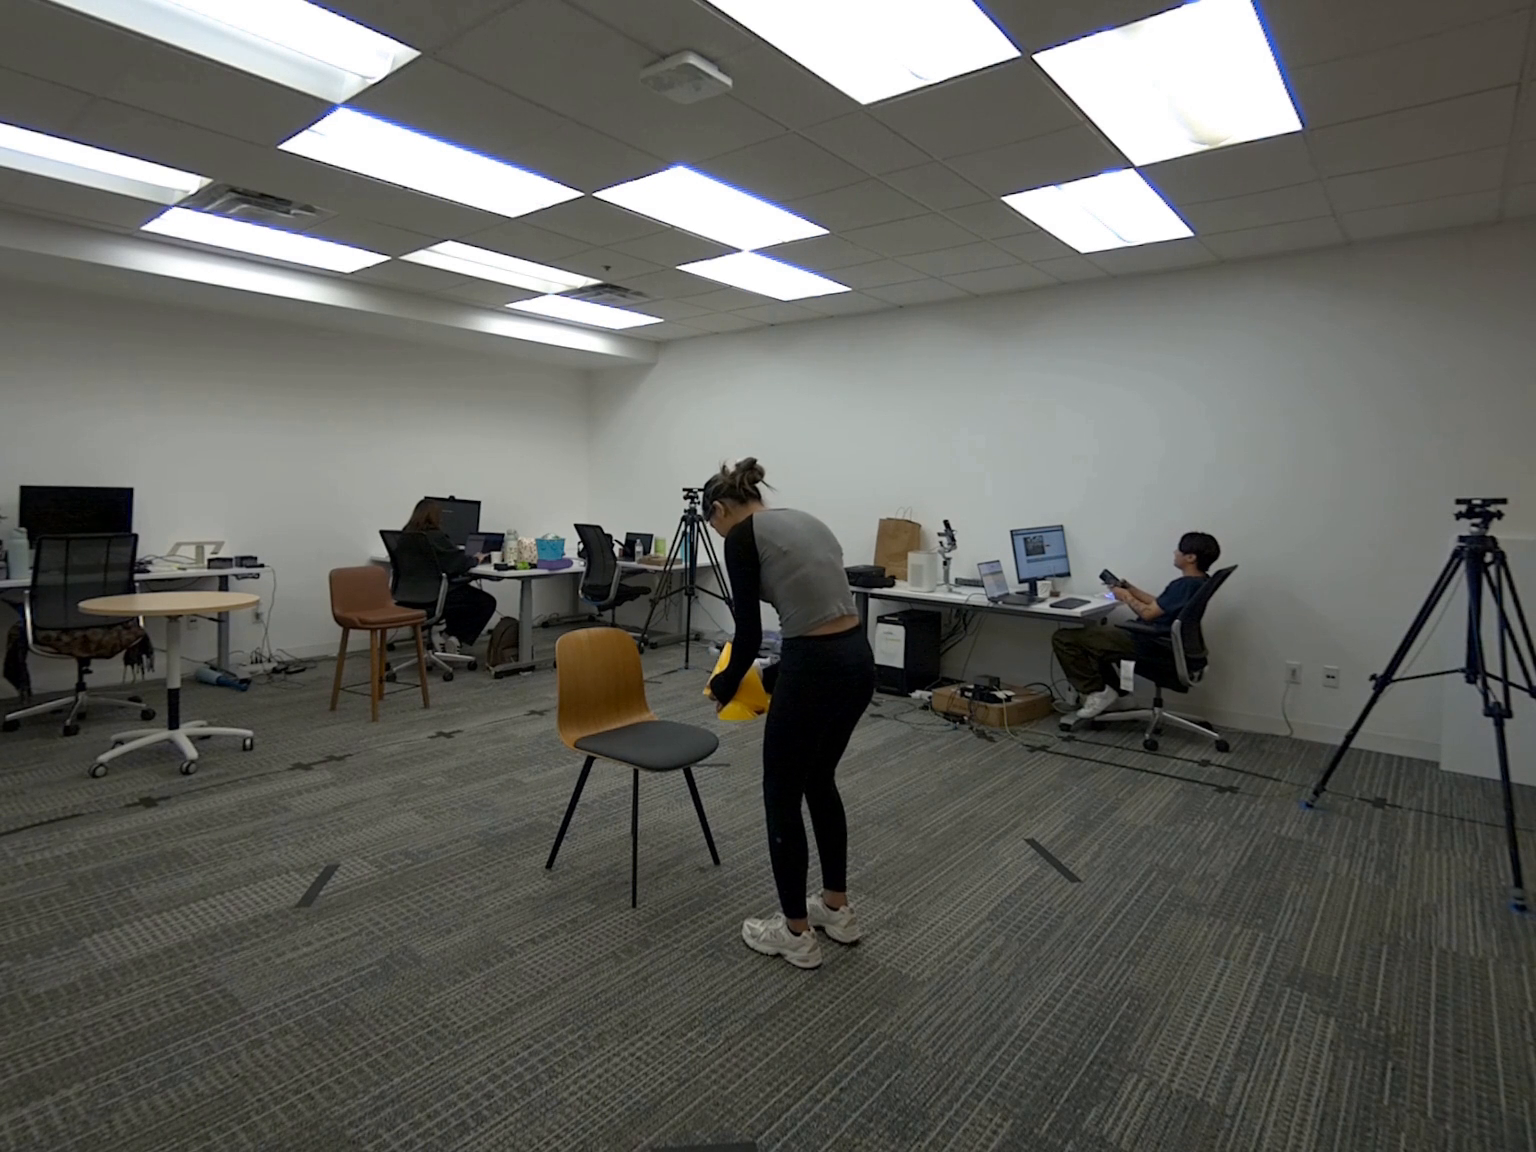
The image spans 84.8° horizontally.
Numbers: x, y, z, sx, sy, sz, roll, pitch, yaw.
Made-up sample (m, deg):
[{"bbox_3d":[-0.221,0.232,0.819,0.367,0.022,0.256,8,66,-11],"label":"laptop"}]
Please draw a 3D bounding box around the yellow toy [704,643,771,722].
[{"bbox_3d":[-0.084,0.332,2.727,0.199,0.231,0.199,-4,1,41],"label":"yellow toy"}]
